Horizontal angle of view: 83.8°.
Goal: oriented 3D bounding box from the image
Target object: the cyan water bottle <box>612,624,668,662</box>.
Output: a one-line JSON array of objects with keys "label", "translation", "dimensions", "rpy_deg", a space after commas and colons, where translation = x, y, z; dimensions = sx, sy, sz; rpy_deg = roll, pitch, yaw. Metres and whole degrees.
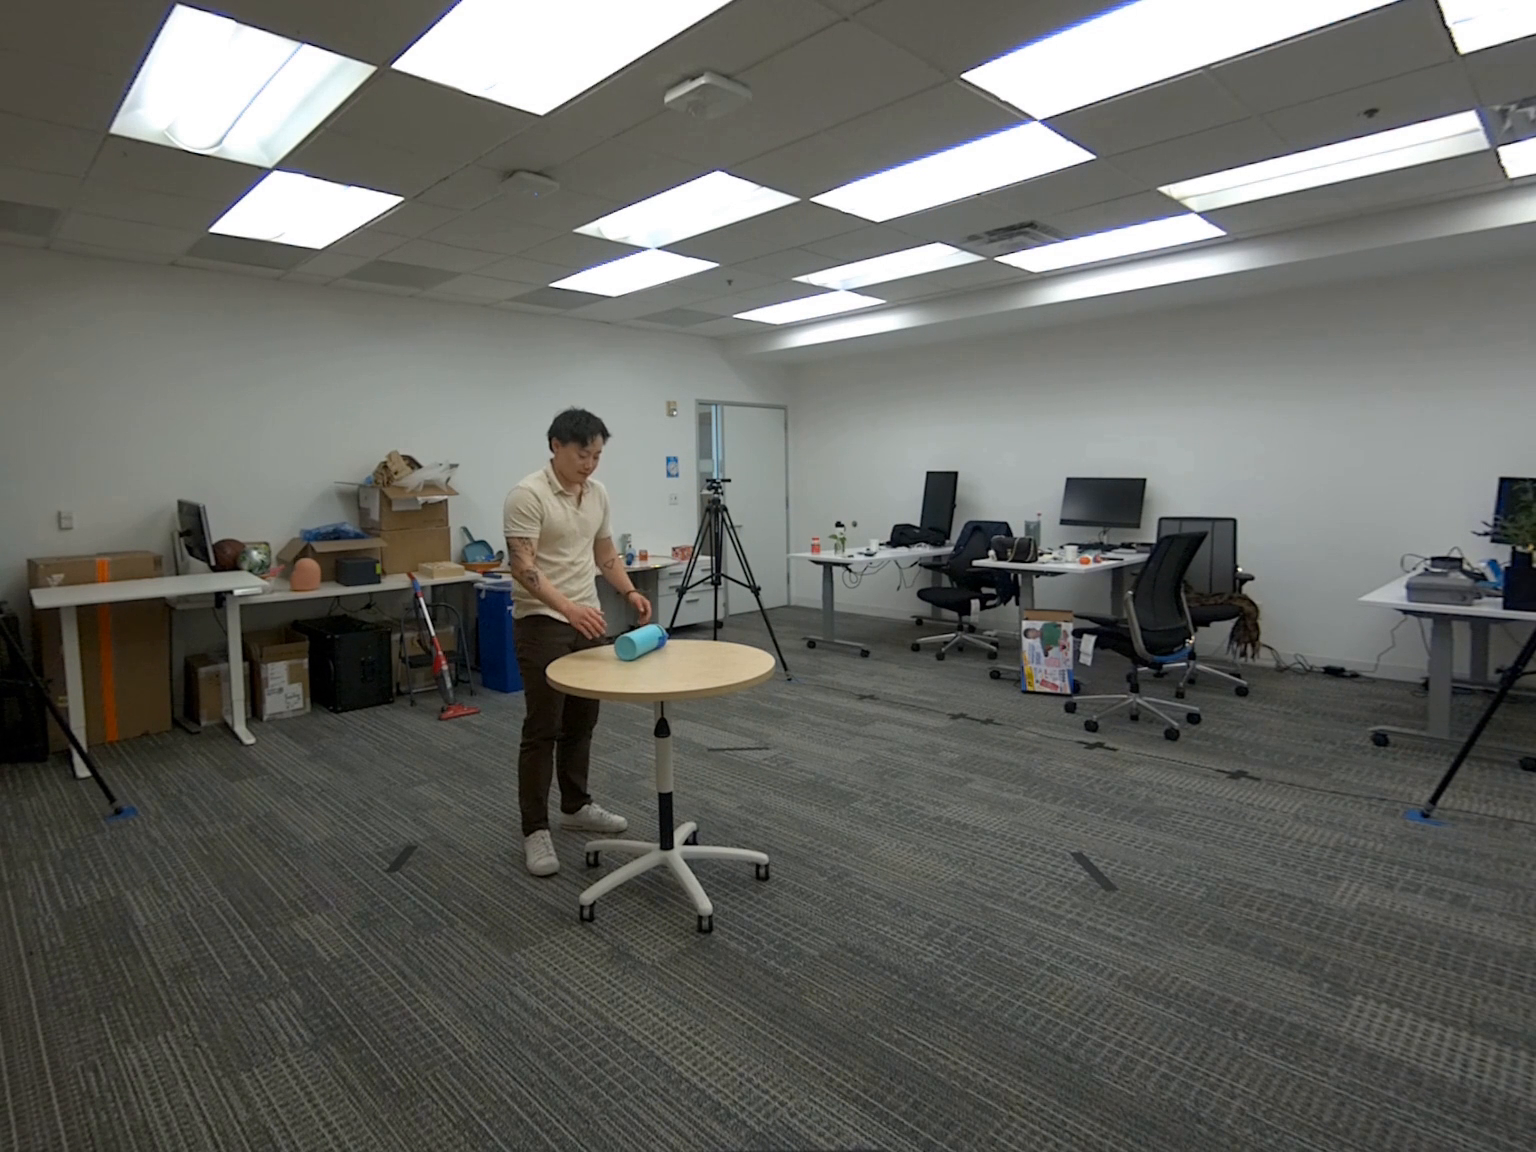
[{"label": "cyan water bottle", "translation": [-0.447, 0.229, 3.041], "dimensions": [0.094, 0.092, 0.279], "rpy_deg": [1, 6, 18]}]
